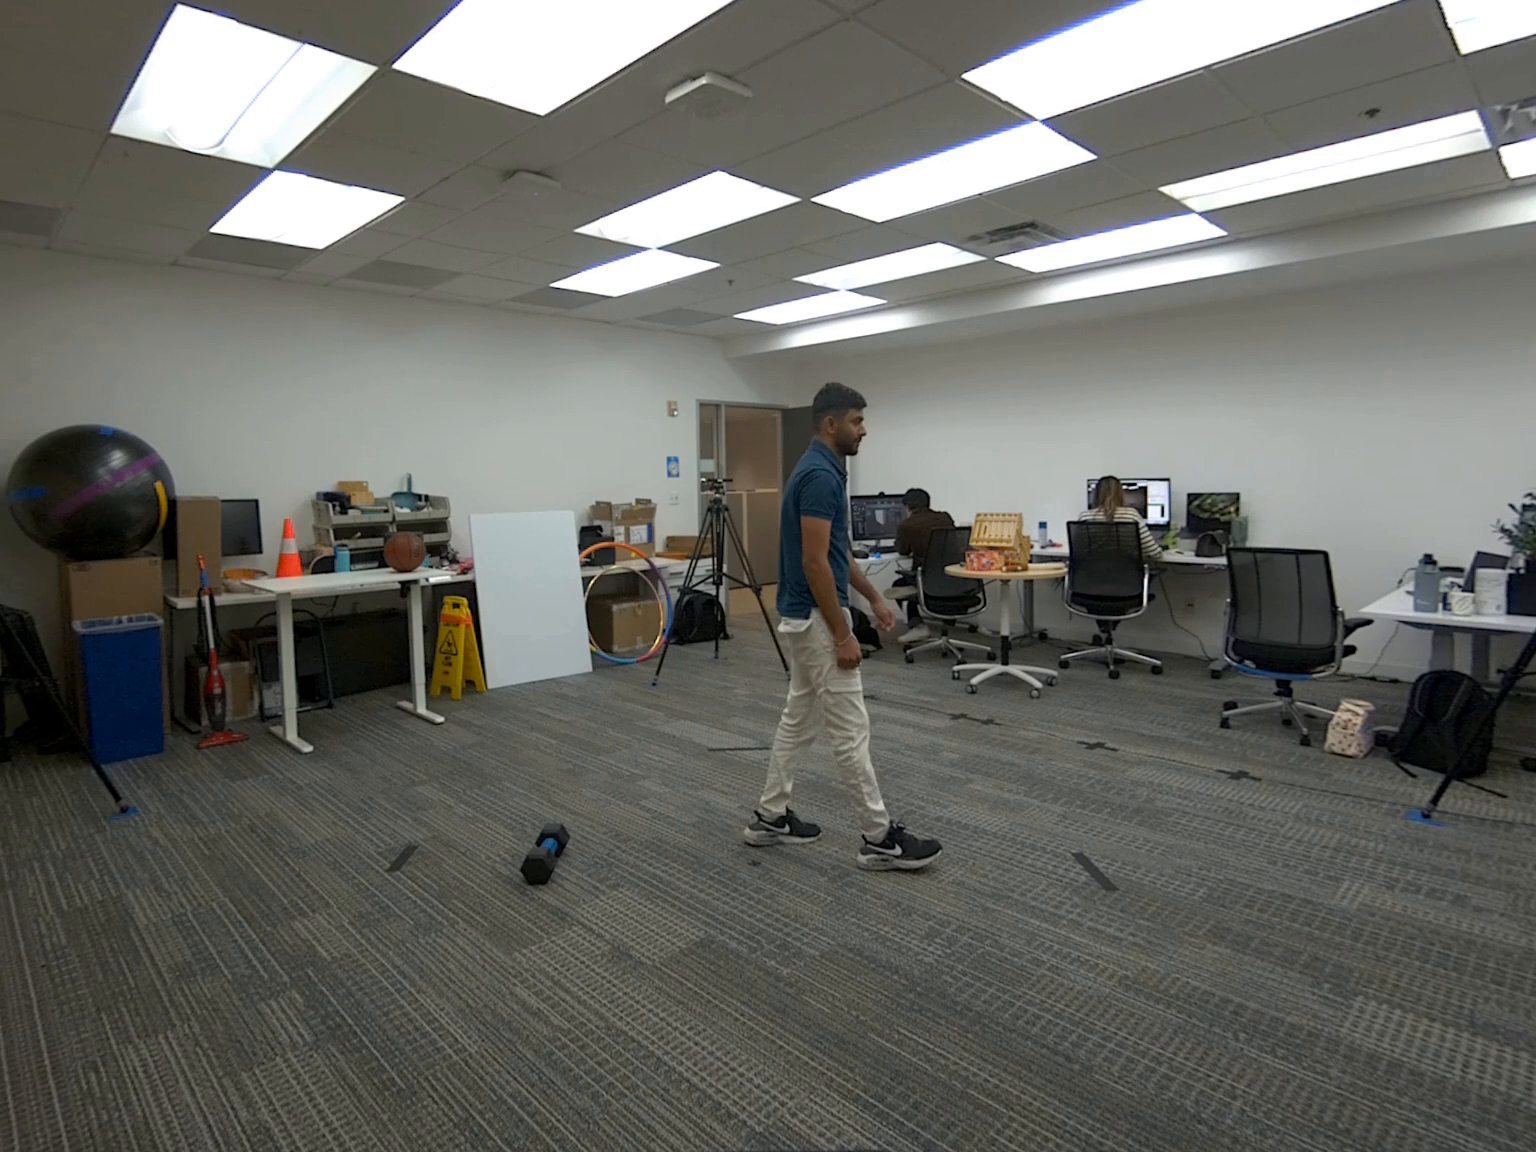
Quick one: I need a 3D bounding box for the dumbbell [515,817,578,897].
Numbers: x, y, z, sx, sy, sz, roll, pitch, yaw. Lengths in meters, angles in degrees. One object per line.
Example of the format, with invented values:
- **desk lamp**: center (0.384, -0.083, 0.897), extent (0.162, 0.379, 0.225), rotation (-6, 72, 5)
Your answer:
- **dumbbell**: center (-0.800, 1.010, 3.106), extent (0.108, 0.123, 0.295), rotation (31, 5, -4)
